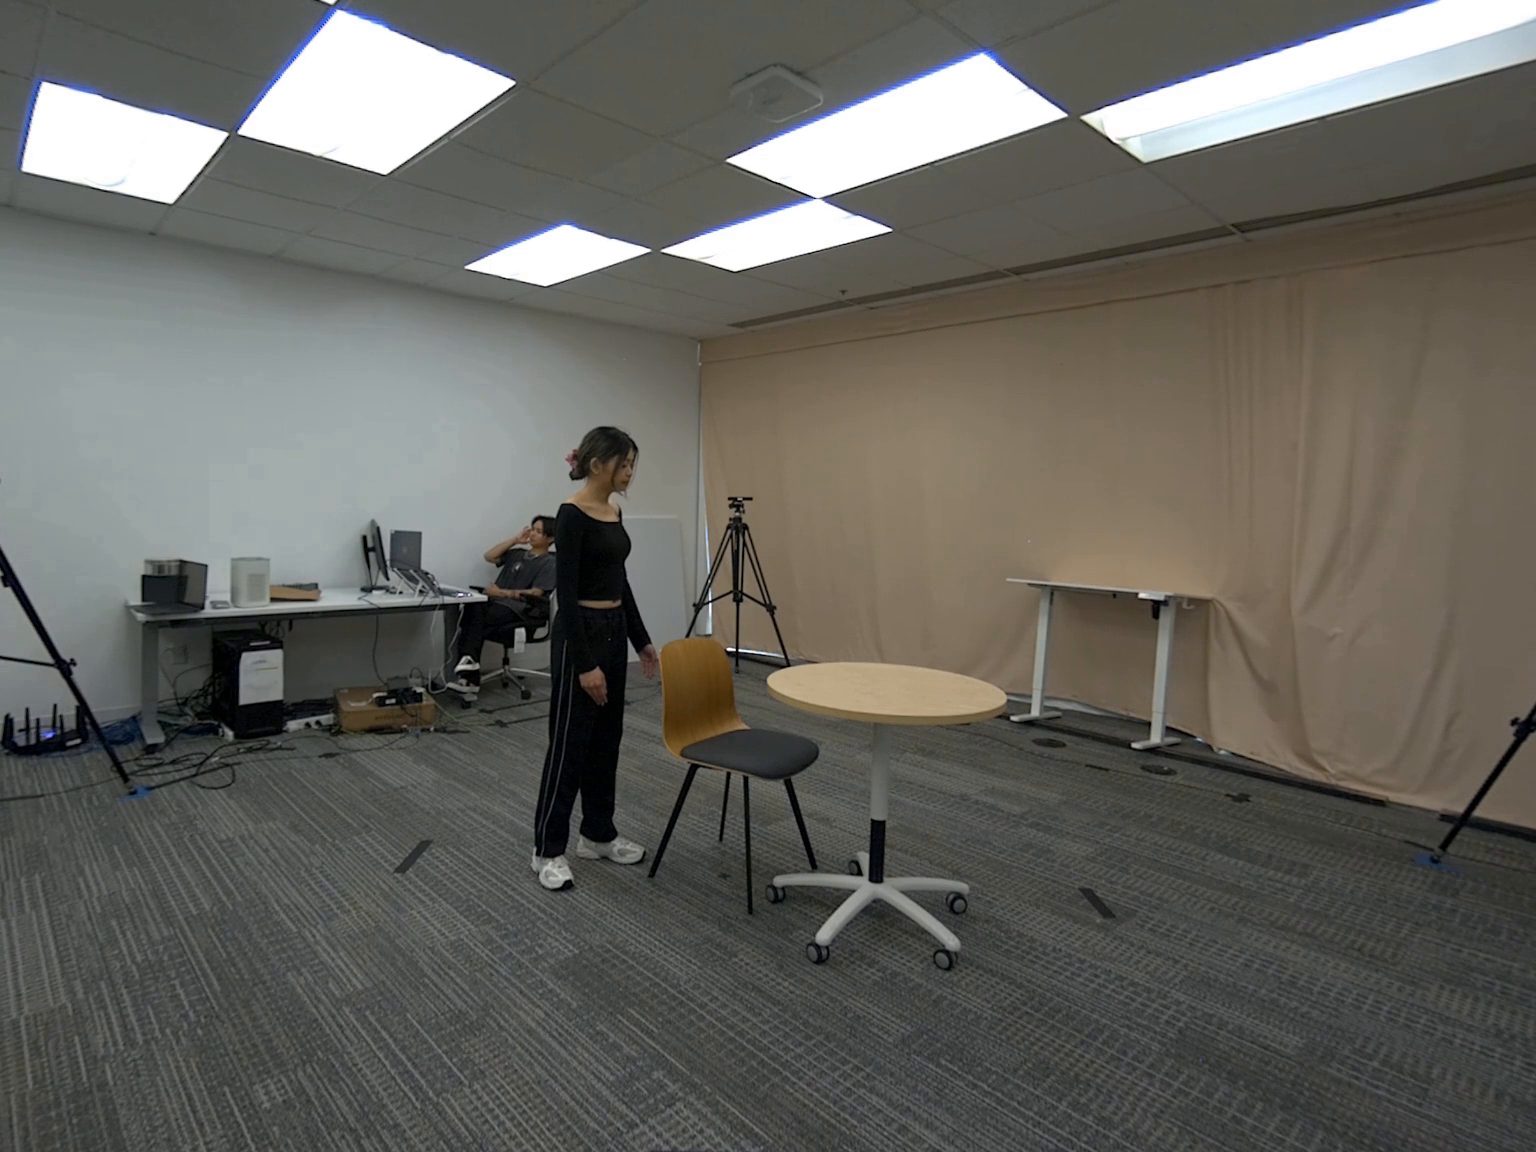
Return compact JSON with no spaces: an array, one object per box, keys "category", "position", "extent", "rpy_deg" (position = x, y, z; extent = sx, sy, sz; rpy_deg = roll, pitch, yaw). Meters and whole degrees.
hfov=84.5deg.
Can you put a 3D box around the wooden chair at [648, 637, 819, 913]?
[{"category":"wooden chair","position":[-0.115,0.679,3.096],"extent":[0.534,0.877,0.468],"rpy_deg":[-1,1,35]}]
